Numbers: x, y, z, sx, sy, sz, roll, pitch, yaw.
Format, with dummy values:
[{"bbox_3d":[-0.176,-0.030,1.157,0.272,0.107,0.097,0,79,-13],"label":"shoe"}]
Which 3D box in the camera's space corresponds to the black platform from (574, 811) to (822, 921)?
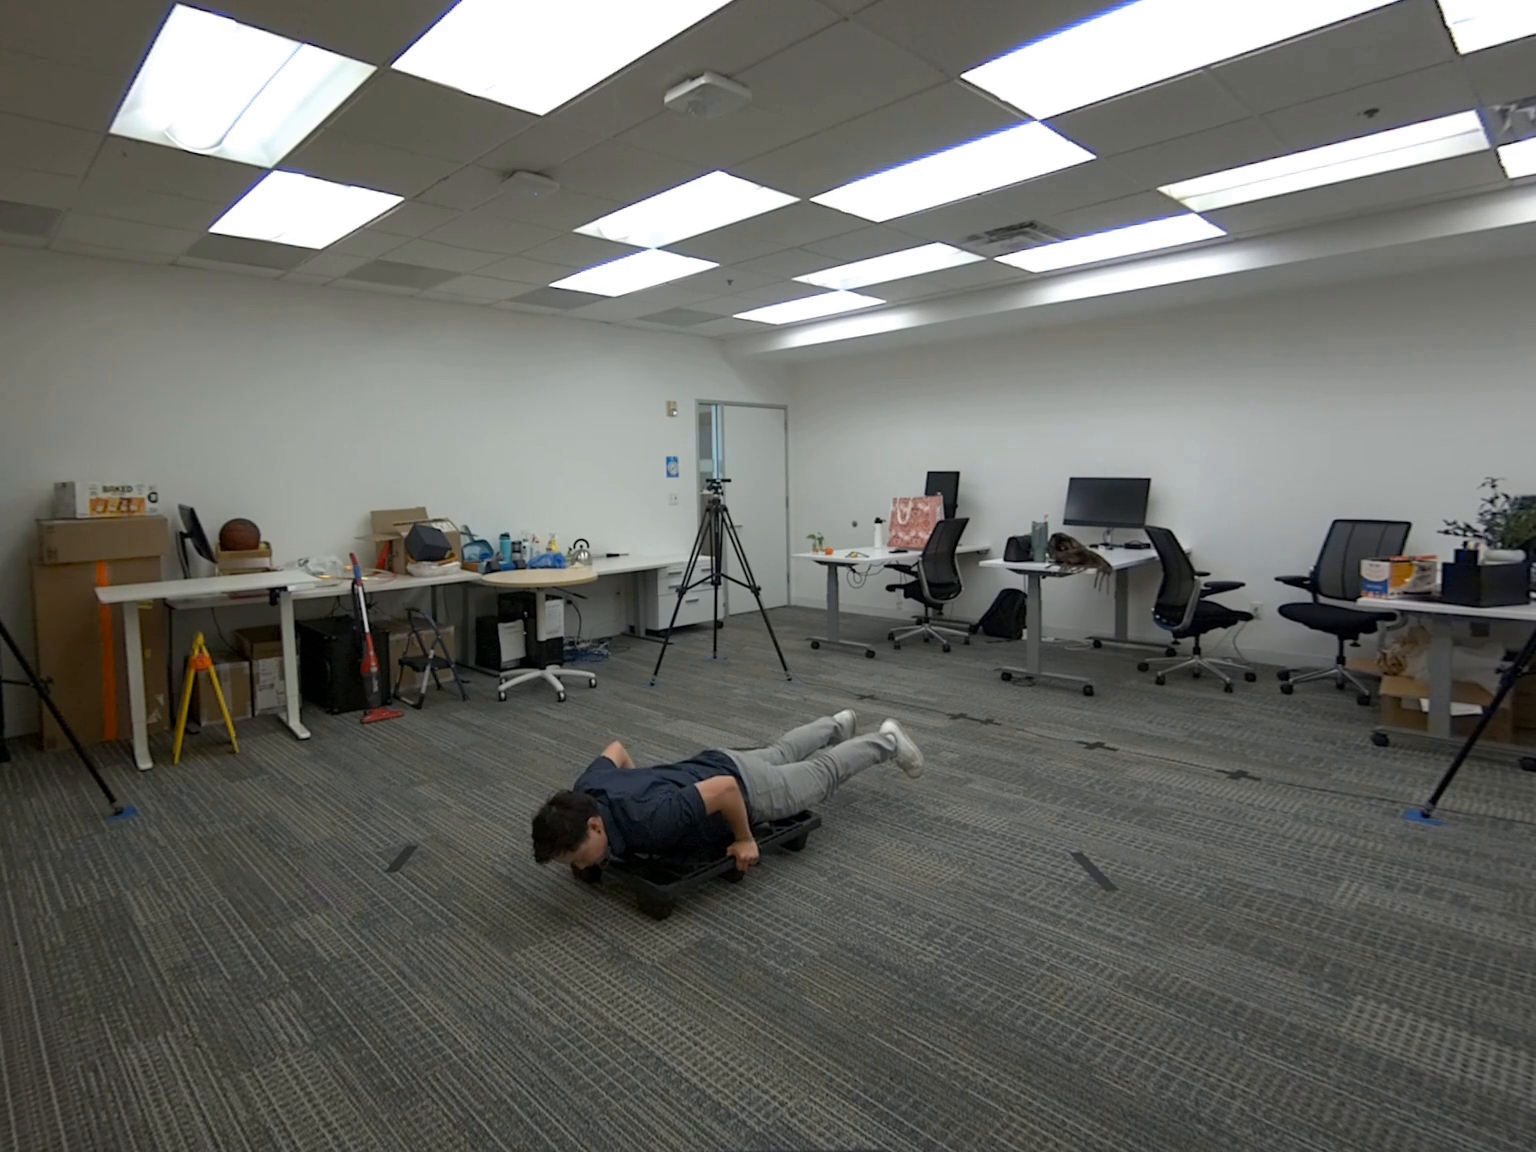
[{"bbox_3d":[-0.279,0.985,3.135,0.624,0.142,0.785,5,9,42],"label":"black platform"}]
